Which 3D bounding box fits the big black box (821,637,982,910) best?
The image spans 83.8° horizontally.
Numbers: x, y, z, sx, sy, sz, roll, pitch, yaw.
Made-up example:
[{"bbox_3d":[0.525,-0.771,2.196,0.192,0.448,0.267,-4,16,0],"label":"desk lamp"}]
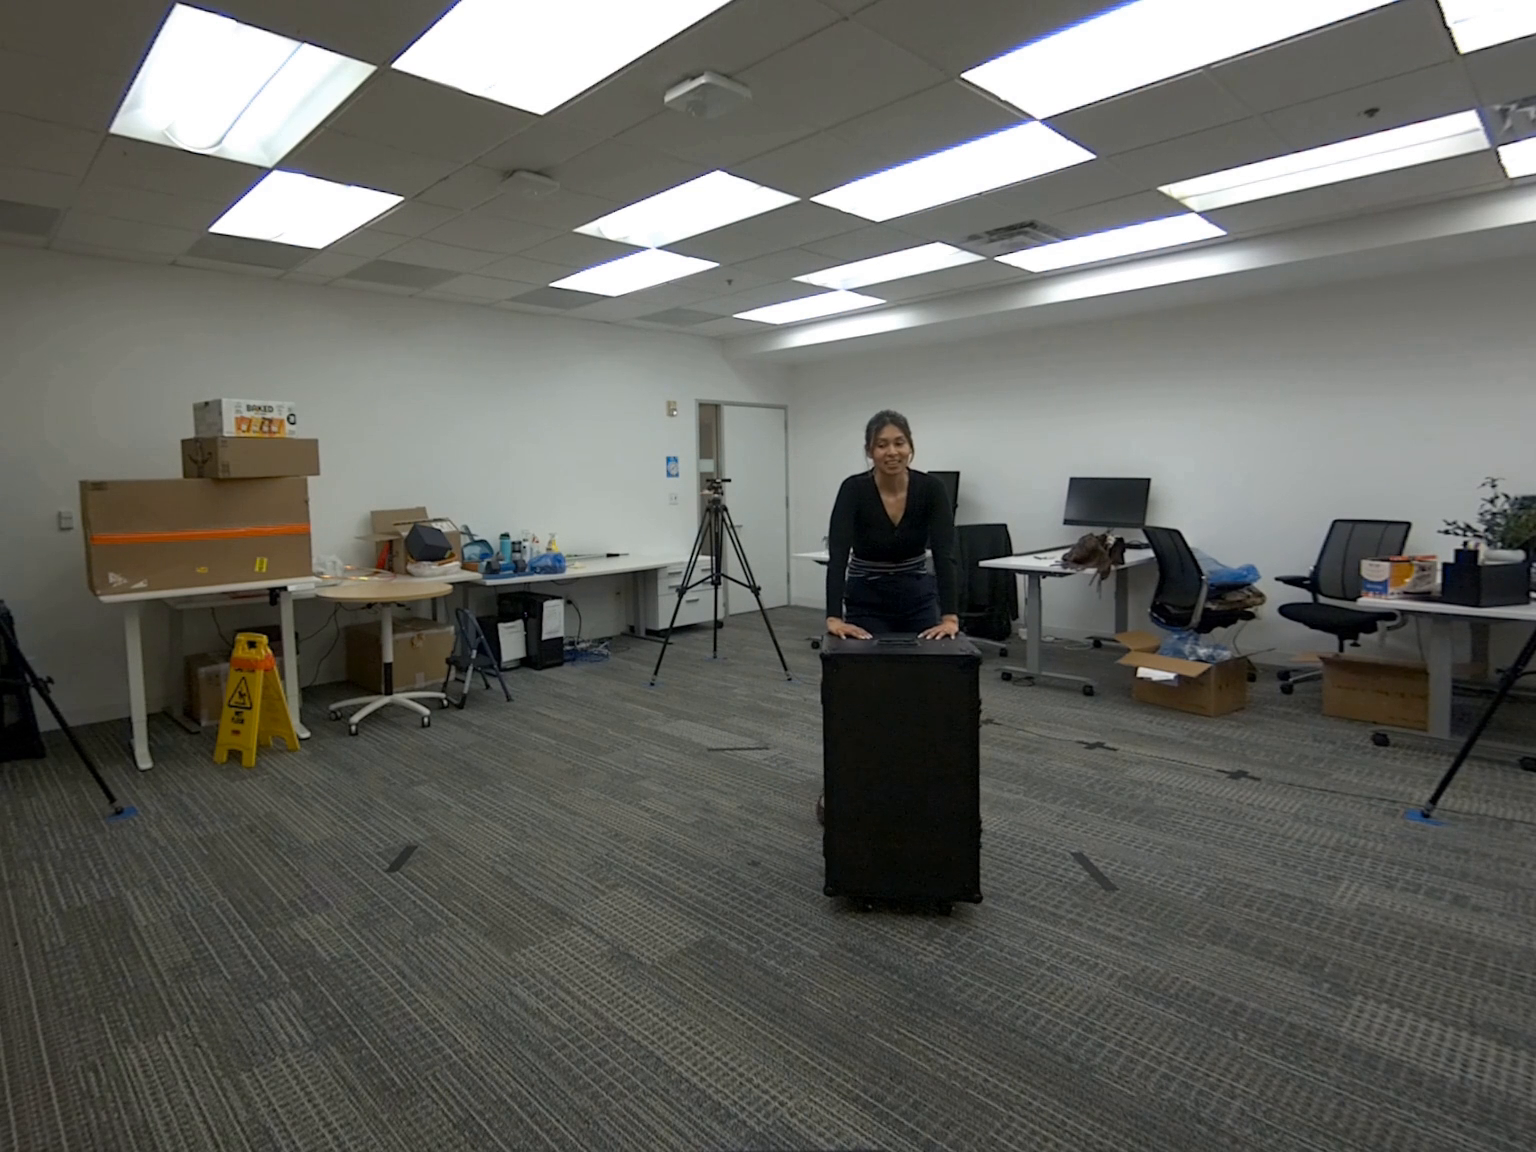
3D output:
[{"bbox_3d":[0.424,0.643,2.842,0.525,0.859,0.395,-1,3,6],"label":"big black box"}]
